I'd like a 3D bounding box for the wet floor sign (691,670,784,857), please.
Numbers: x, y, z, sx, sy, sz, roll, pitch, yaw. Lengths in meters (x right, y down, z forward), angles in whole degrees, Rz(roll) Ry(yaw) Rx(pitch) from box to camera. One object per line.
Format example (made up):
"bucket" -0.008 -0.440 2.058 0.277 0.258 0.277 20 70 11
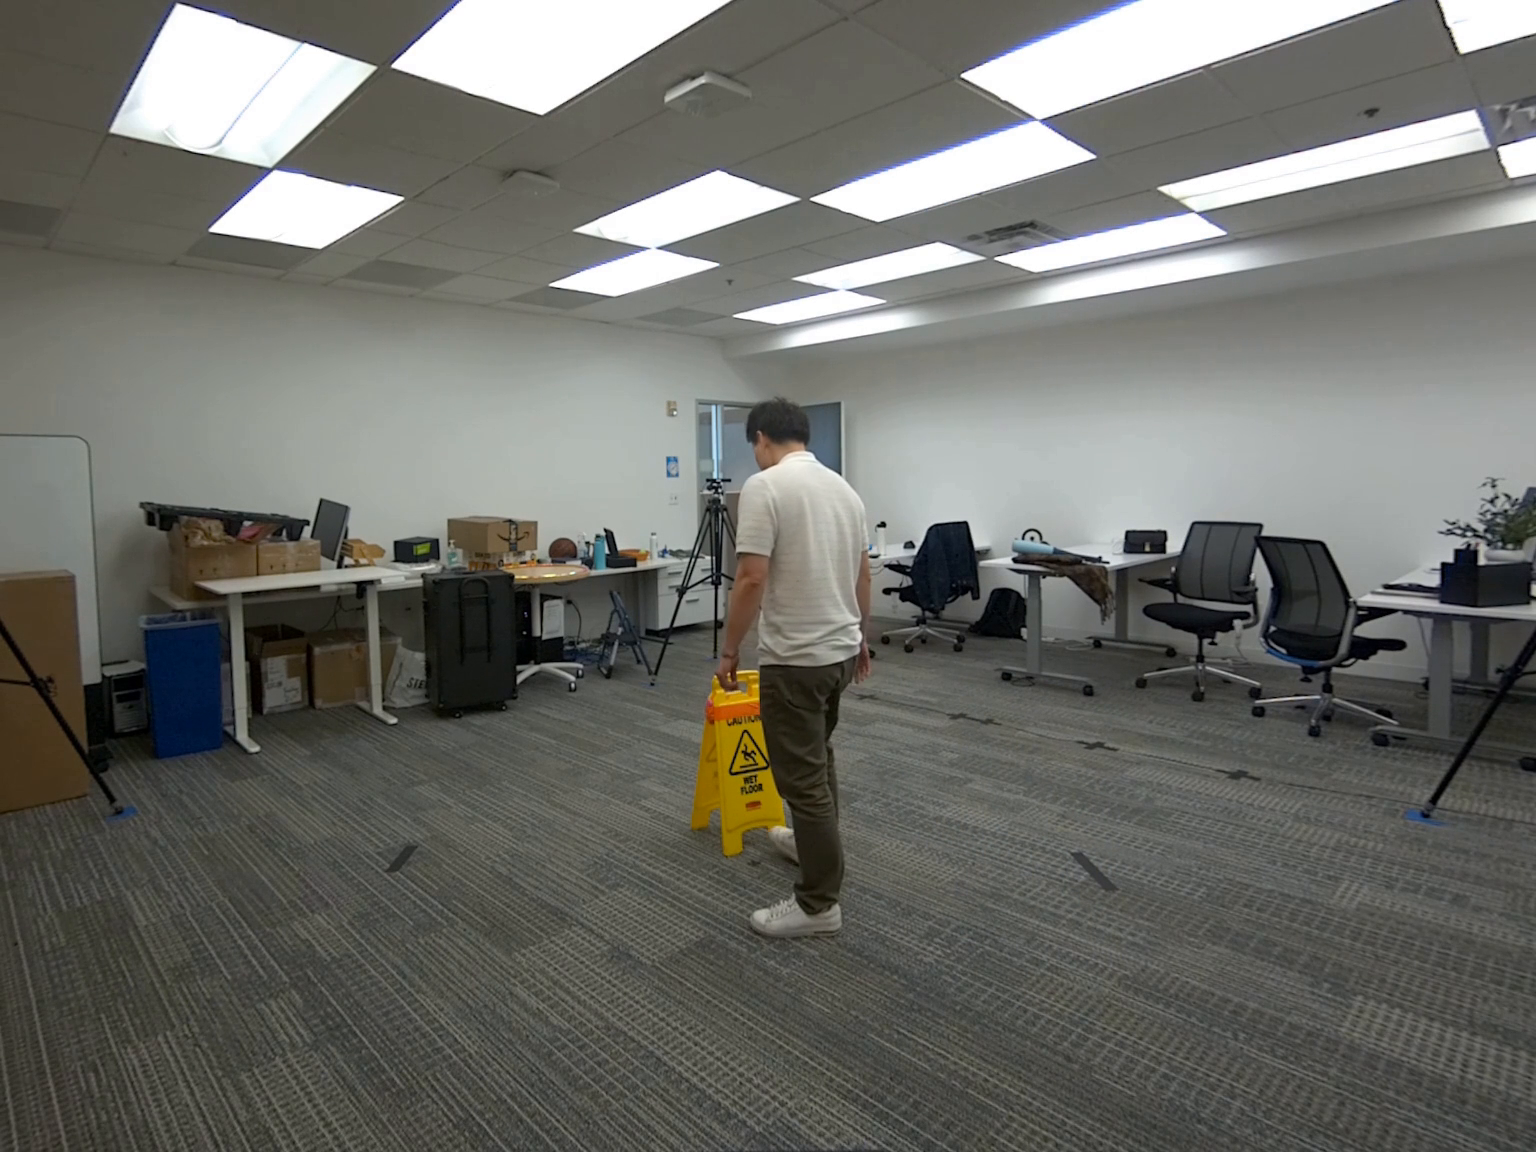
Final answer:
"wet floor sign" -0.117 0.694 3.333 0.276 0.644 0.298 -3 5 -30
